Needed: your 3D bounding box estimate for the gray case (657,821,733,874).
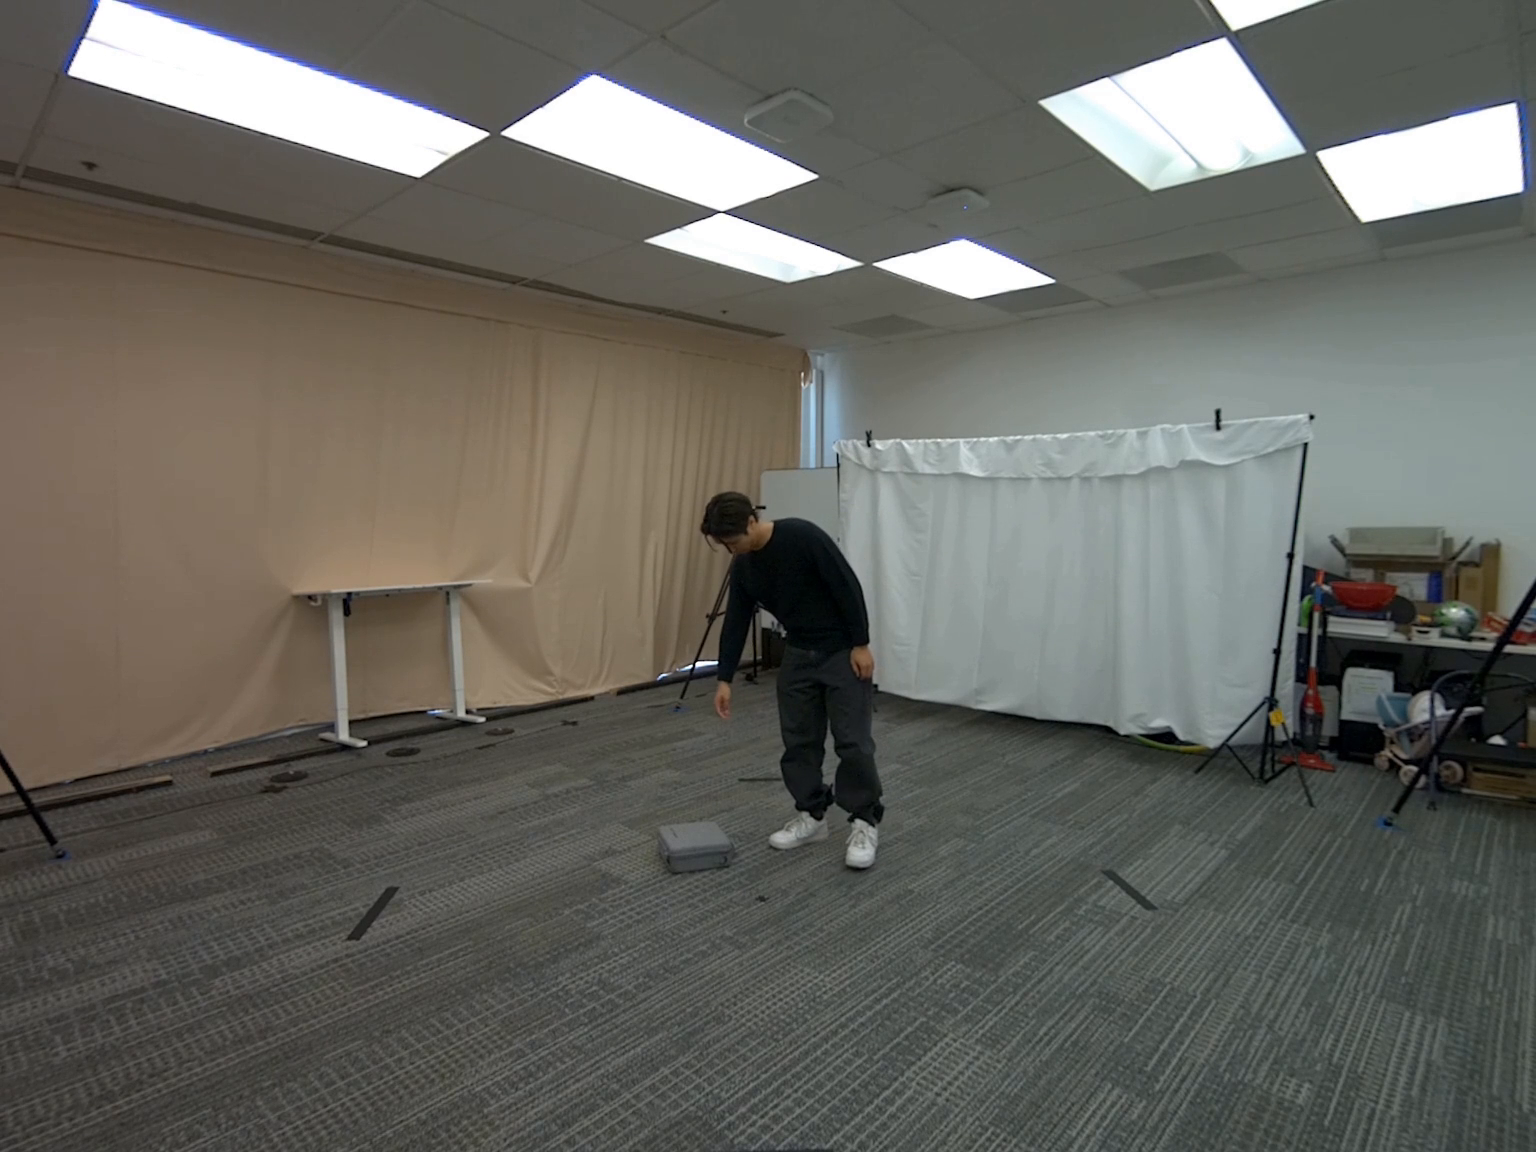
[{"bbox_3d":[-0.290,1.059,3.323,0.256,0.104,0.262,-1,4,-17],"label":"gray case"}]
